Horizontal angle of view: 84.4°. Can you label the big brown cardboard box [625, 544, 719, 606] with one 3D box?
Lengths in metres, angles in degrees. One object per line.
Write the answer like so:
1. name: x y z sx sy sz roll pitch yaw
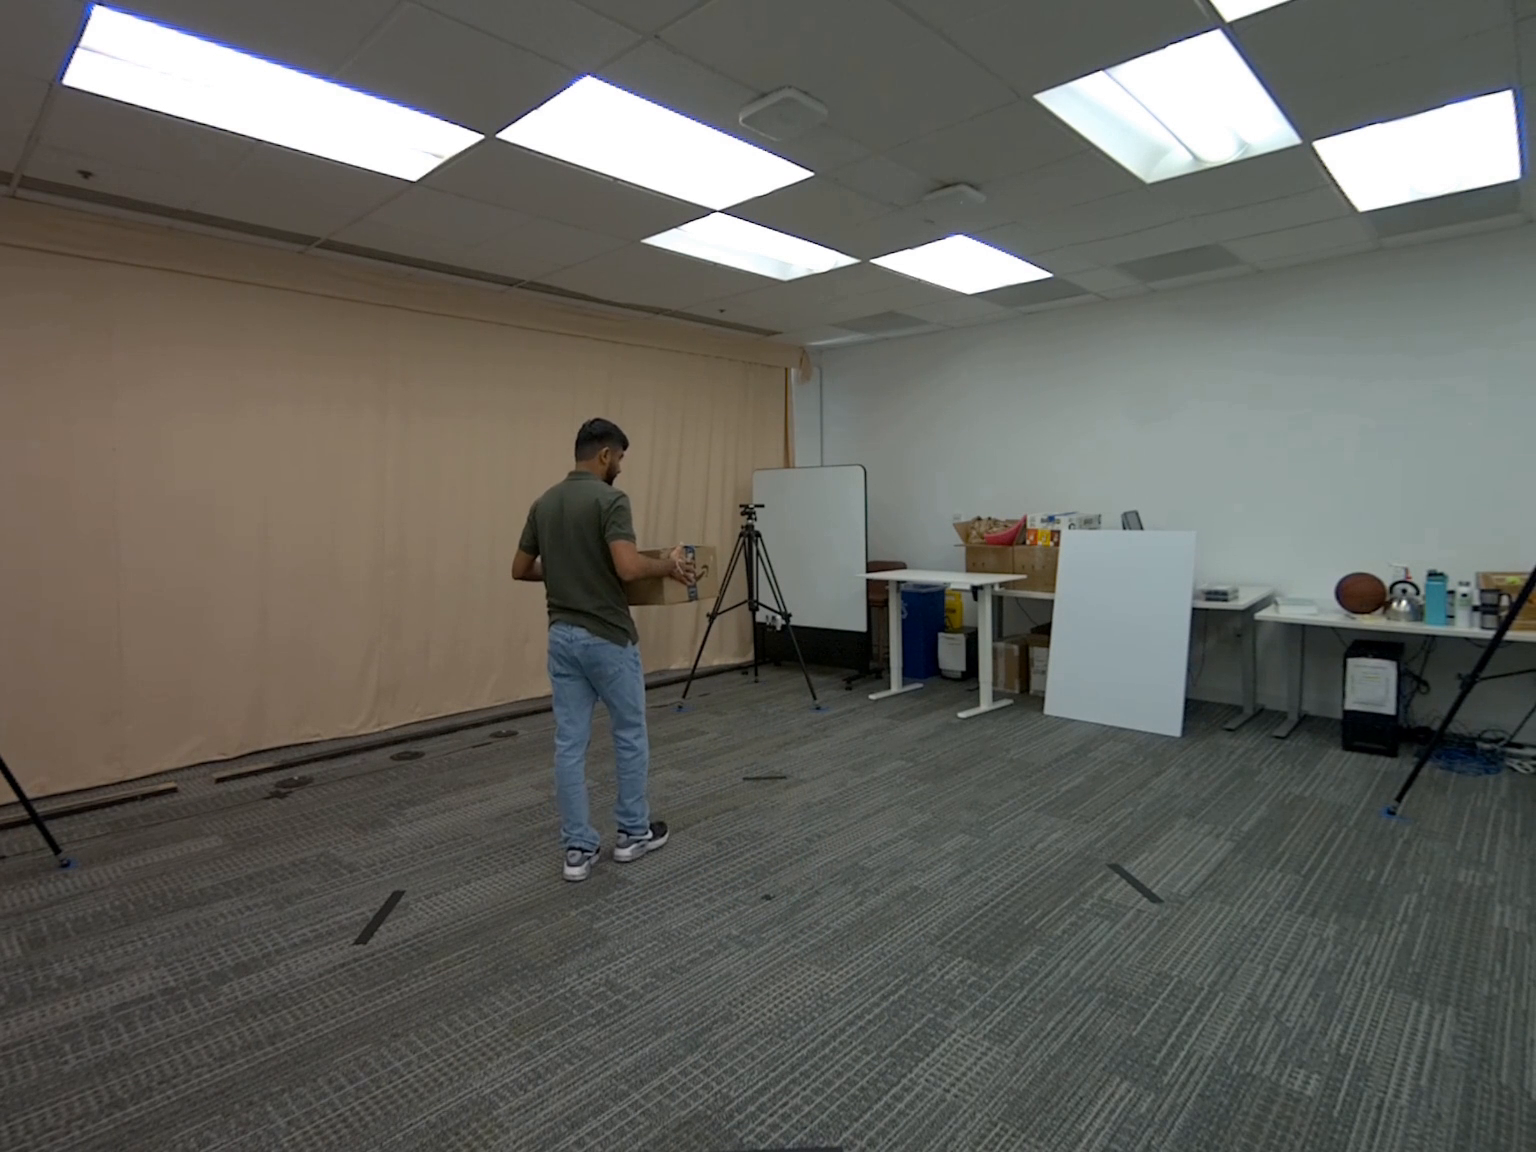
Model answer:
1. big brown cardboard box: -0.546 0.002 3.509 0.604 0.233 0.407 -4 1 27
